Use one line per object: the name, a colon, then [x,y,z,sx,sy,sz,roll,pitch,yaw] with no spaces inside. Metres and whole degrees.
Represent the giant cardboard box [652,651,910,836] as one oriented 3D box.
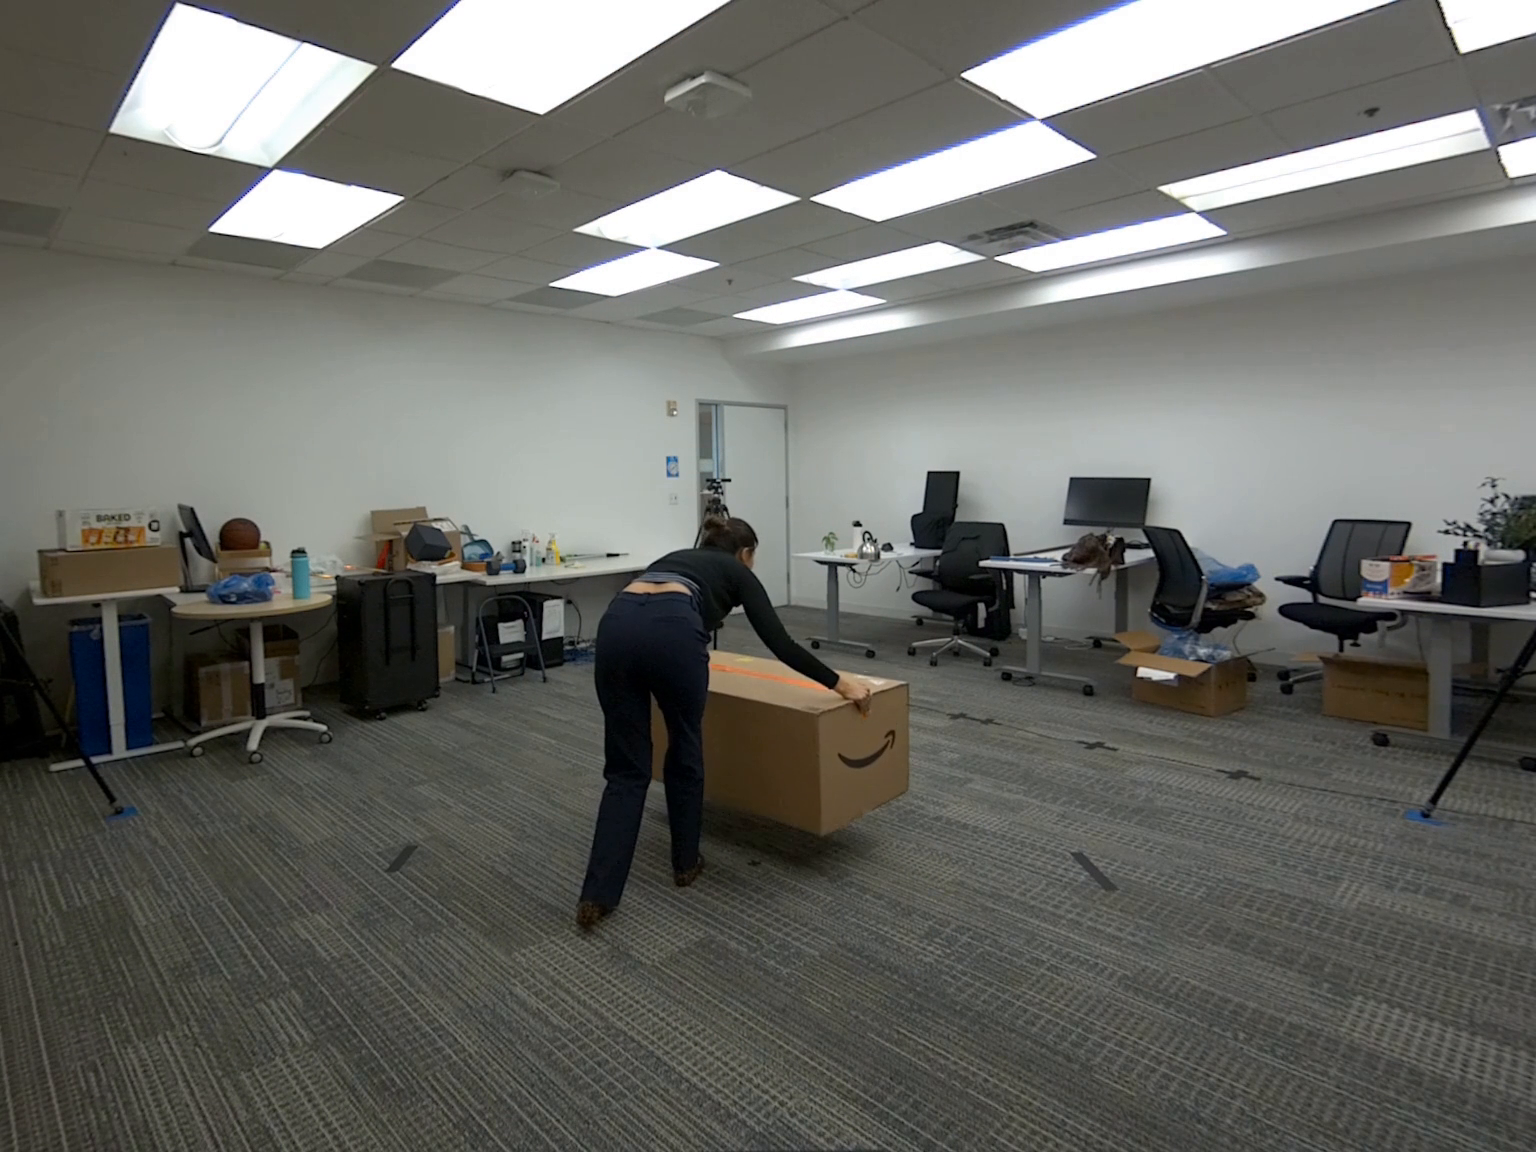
giant cardboard box: [-0.029,0.601,3.416,1.057,0.424,0.563,5,8,41]
